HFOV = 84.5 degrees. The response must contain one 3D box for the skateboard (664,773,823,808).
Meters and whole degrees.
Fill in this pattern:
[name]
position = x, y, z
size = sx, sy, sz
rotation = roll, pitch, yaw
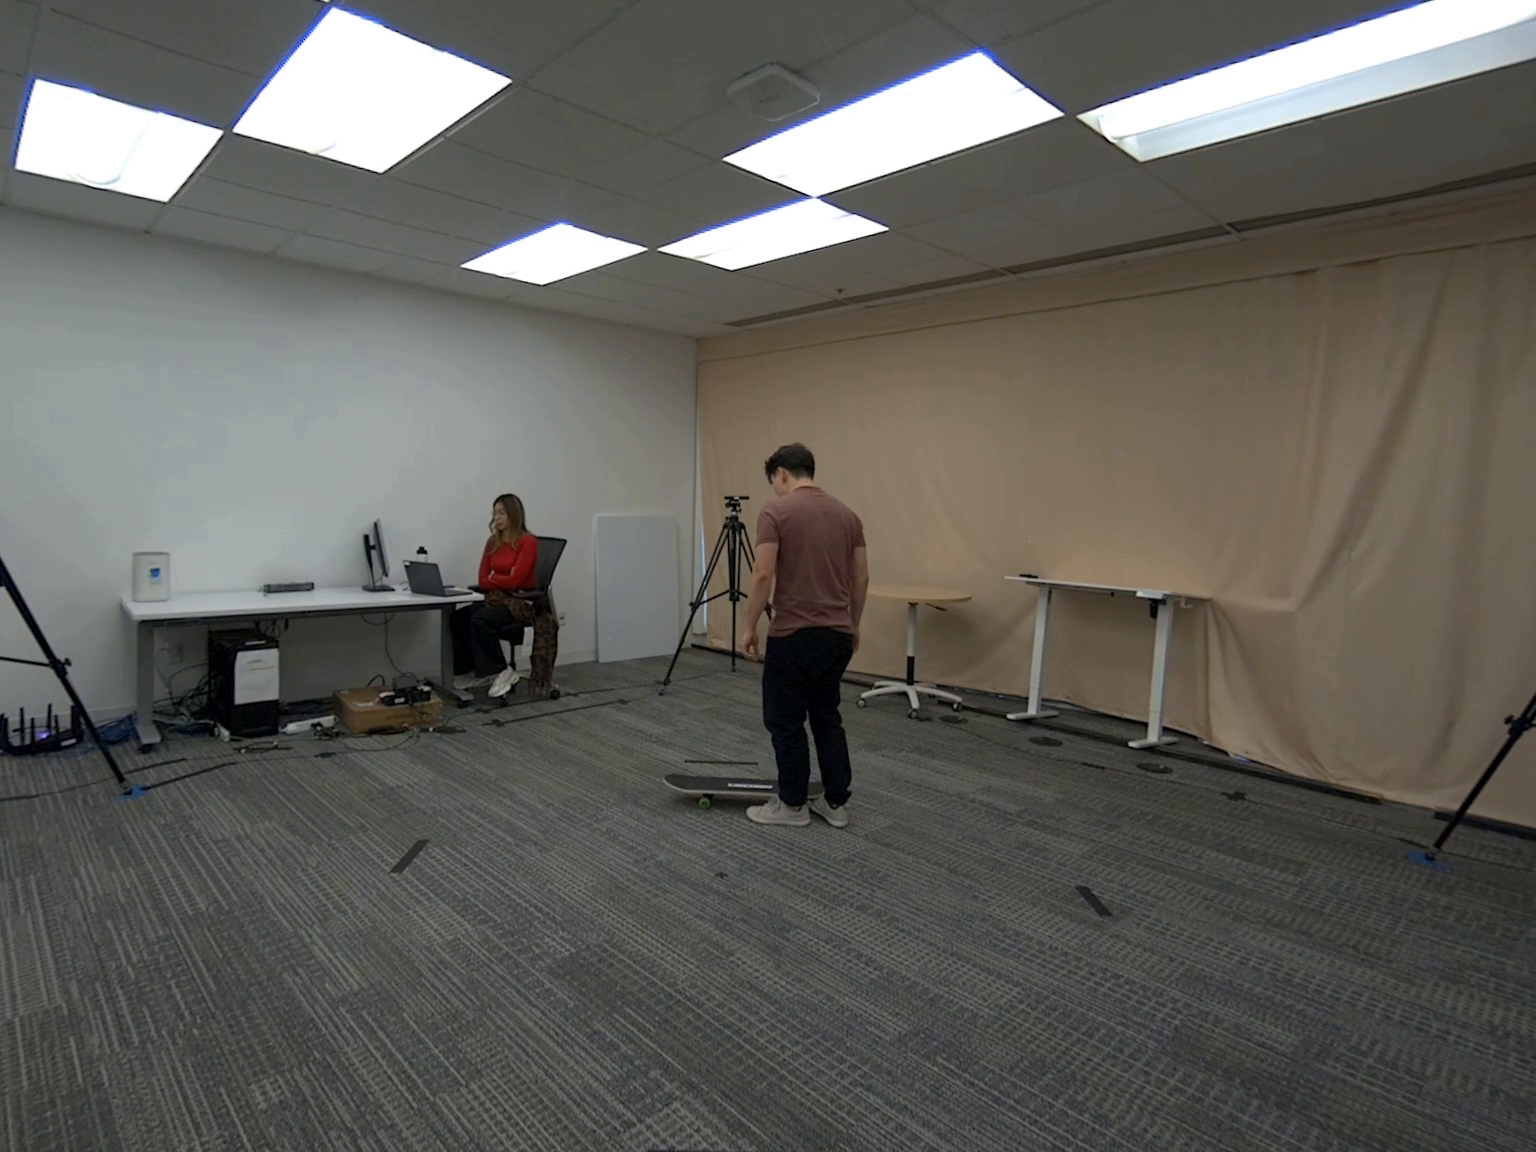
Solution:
[skateboard]
position = -0.098, 0.985, 3.832
size = 0.787, 0.110, 0.193
rotation = 3, 4, 3
